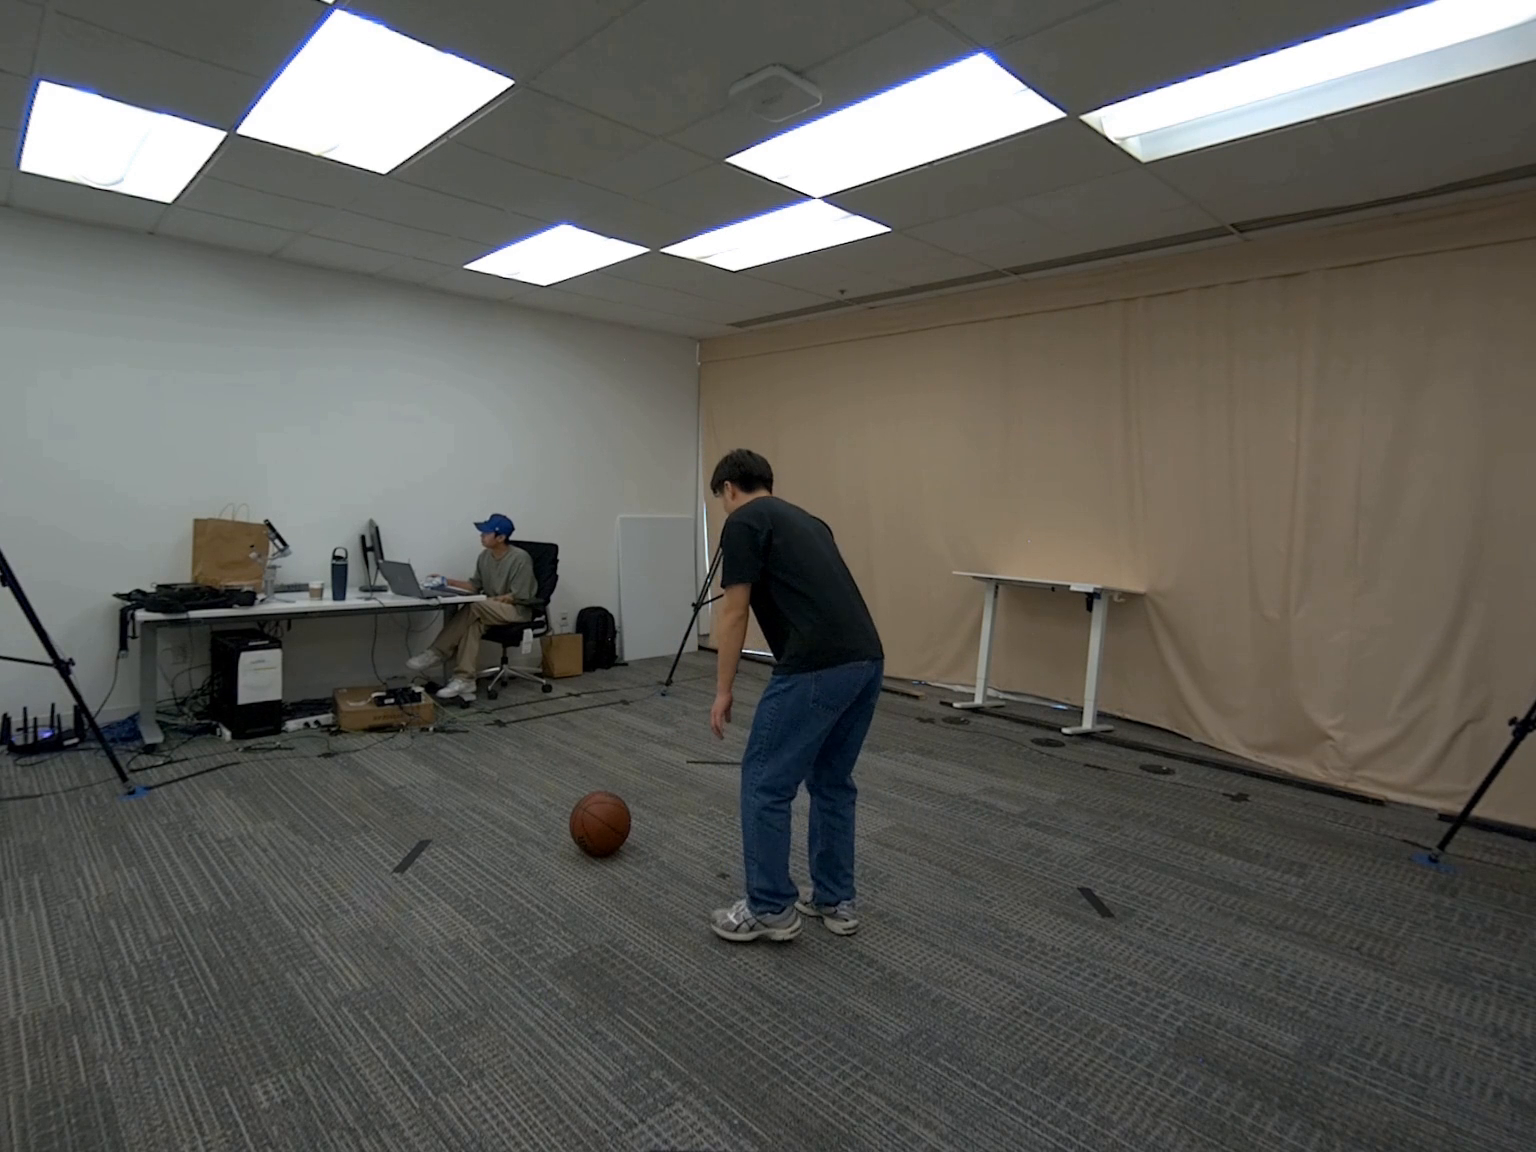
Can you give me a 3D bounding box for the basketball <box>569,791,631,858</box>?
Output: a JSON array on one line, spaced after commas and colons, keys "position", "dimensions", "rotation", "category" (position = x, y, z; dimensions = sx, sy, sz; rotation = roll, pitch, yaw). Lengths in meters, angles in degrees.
[{"position": [-0.656, 0.958, 3.272], "dimensions": [0.236, 0.235, 0.237], "rotation": [1, 4, -1], "category": "basketball"}]
